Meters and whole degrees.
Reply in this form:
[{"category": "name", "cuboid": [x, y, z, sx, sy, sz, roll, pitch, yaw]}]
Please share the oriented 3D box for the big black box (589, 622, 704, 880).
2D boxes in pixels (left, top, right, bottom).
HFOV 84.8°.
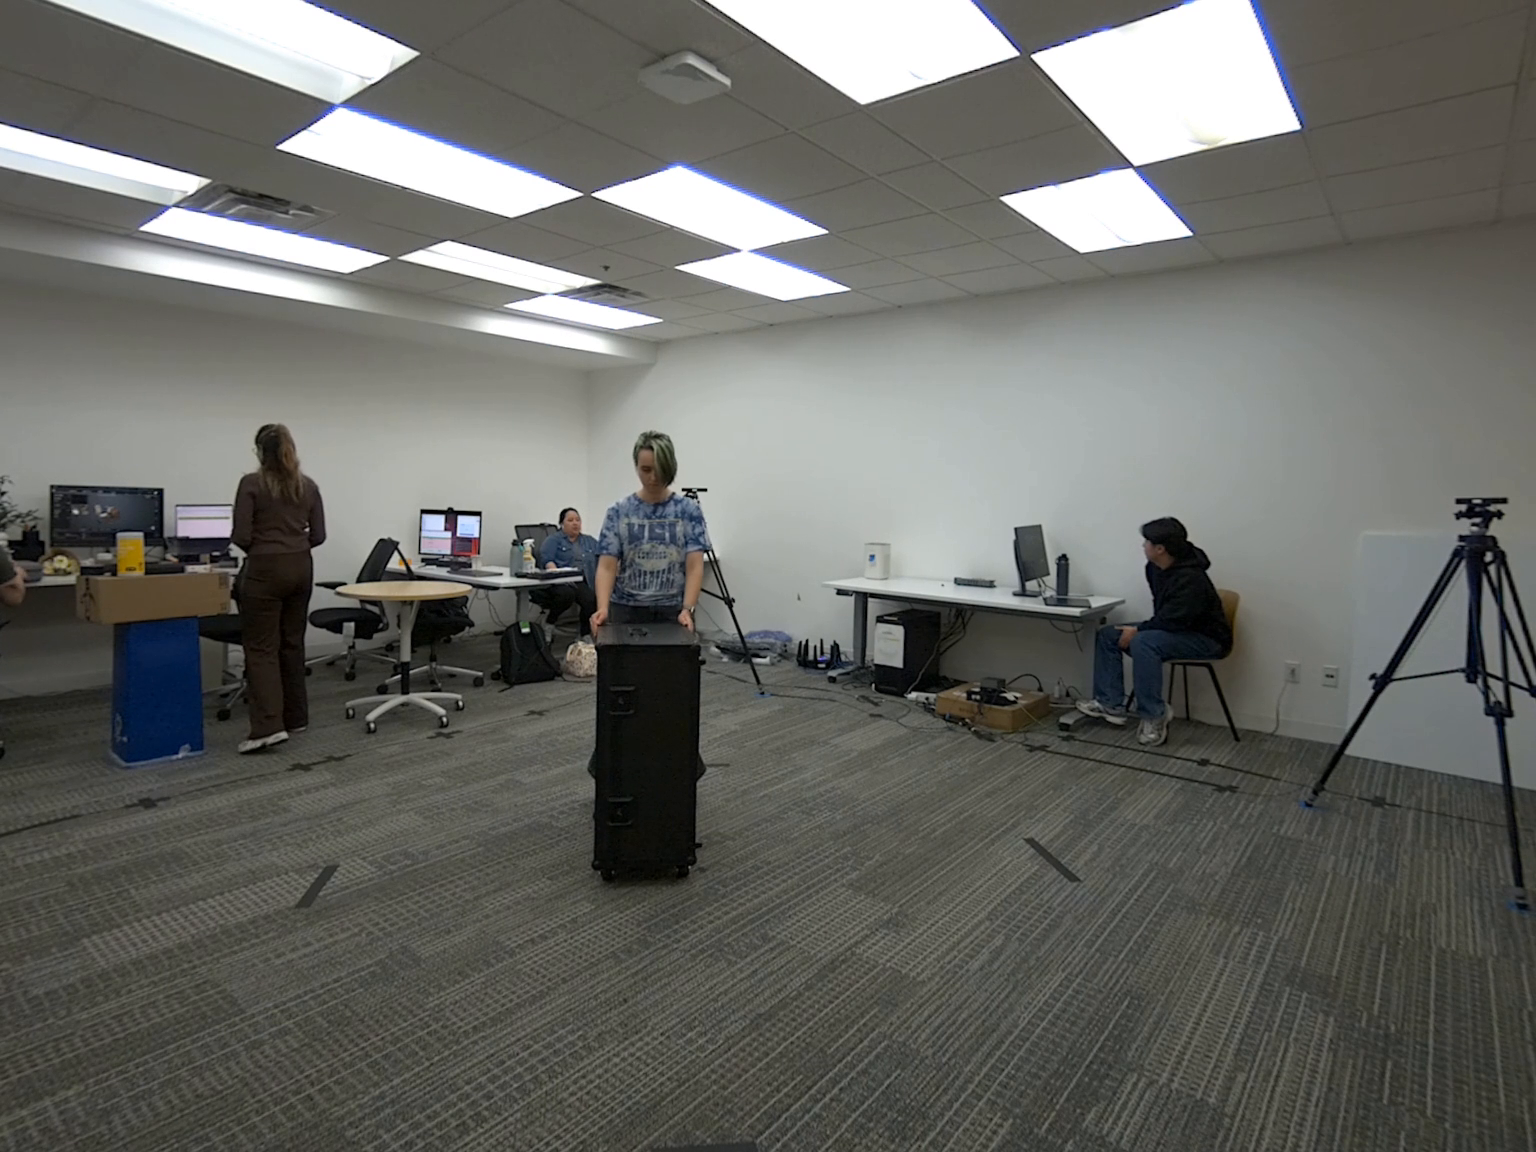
[{"category": "big black box", "cuboid": [-0.466, 0.642, 3.176, 0.393, 0.860, 0.527, 1, 2, -9]}]
